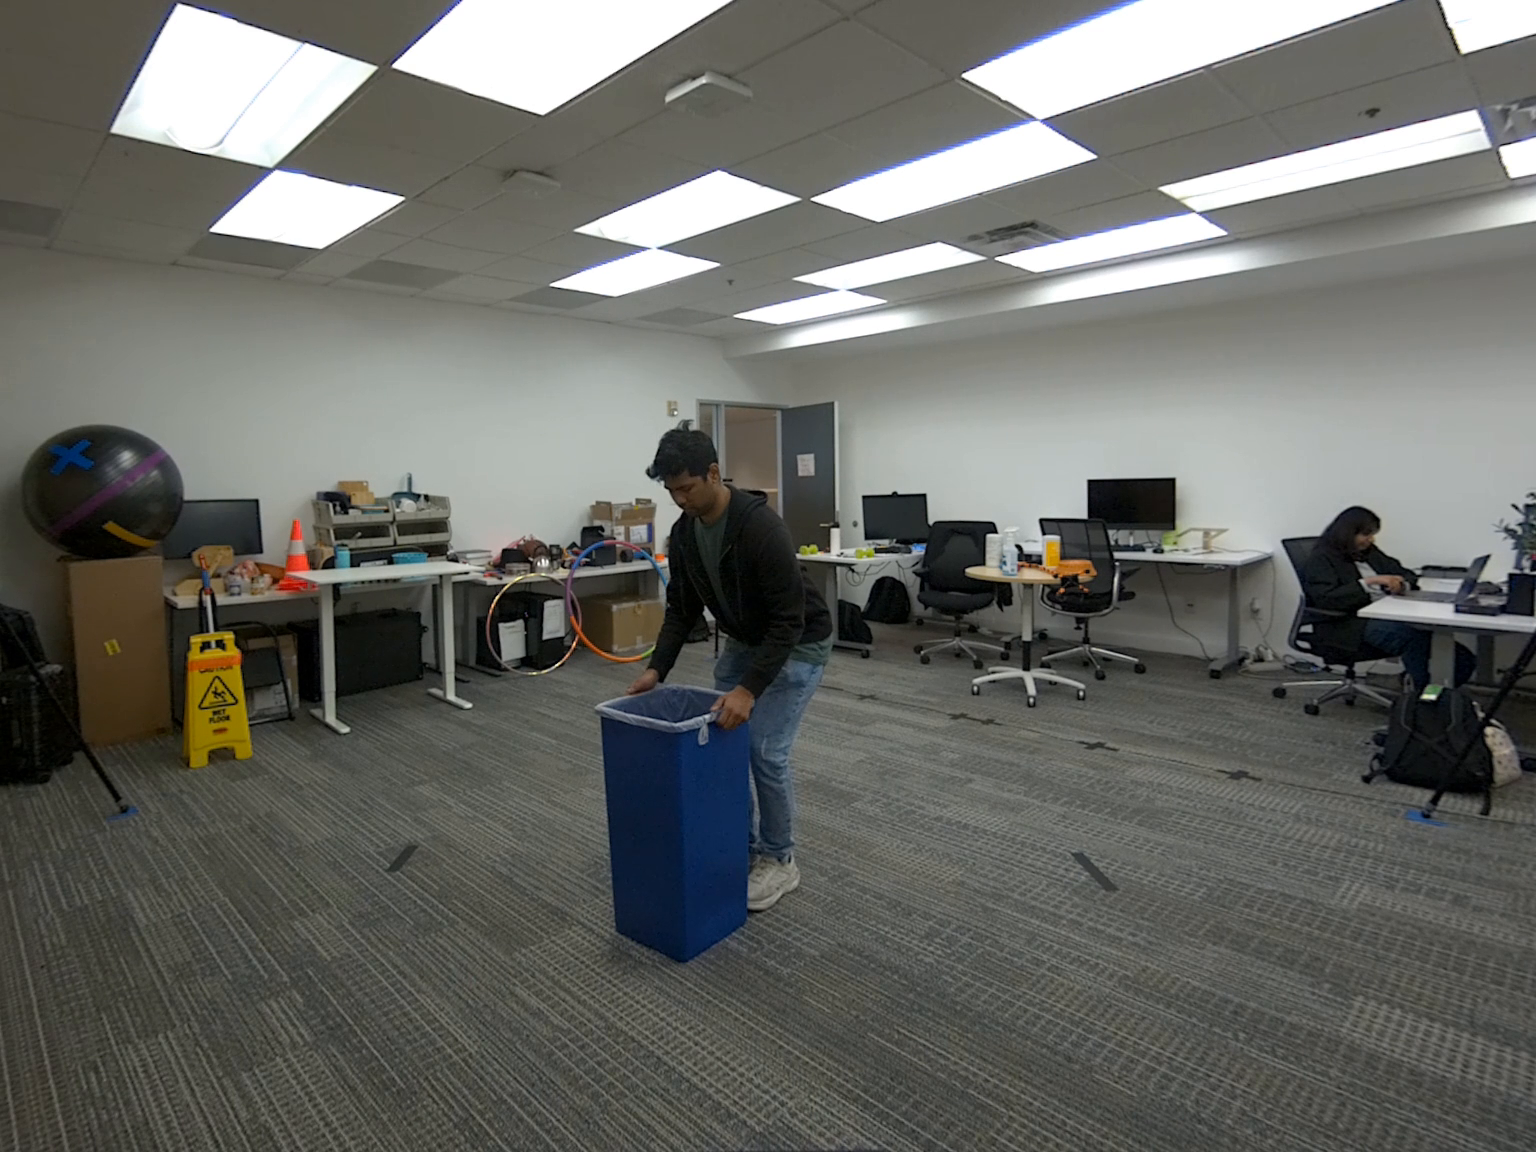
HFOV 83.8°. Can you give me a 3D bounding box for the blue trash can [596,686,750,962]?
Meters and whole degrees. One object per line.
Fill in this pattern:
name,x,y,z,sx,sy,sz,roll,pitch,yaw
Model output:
blue trash can,-0.284,0.744,2.660,0.385,0.711,0.368,2,5,38
